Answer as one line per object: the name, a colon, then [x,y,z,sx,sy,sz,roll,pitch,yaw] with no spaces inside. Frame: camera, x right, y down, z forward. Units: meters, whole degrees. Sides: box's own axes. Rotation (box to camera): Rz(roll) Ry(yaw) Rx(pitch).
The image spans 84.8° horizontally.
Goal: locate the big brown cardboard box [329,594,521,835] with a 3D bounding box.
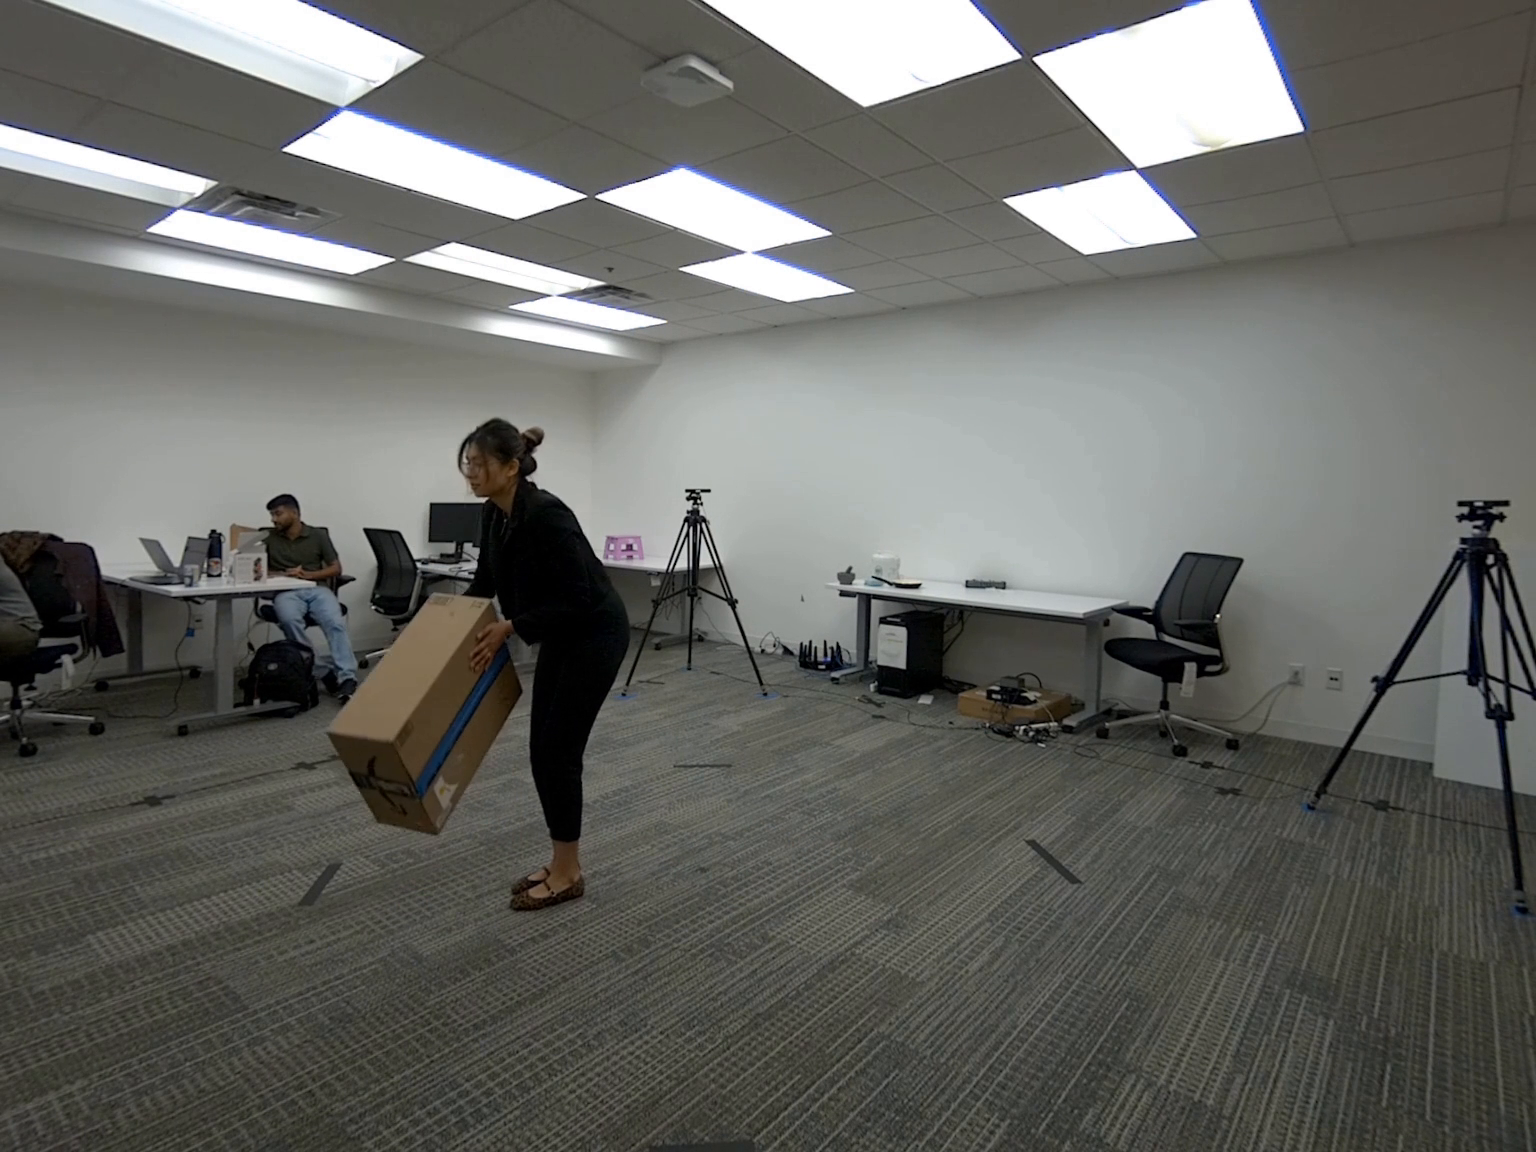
big brown cardboard box: [-1.022,0.409,2.582,0.237,0.404,0.597,5,41,13]
